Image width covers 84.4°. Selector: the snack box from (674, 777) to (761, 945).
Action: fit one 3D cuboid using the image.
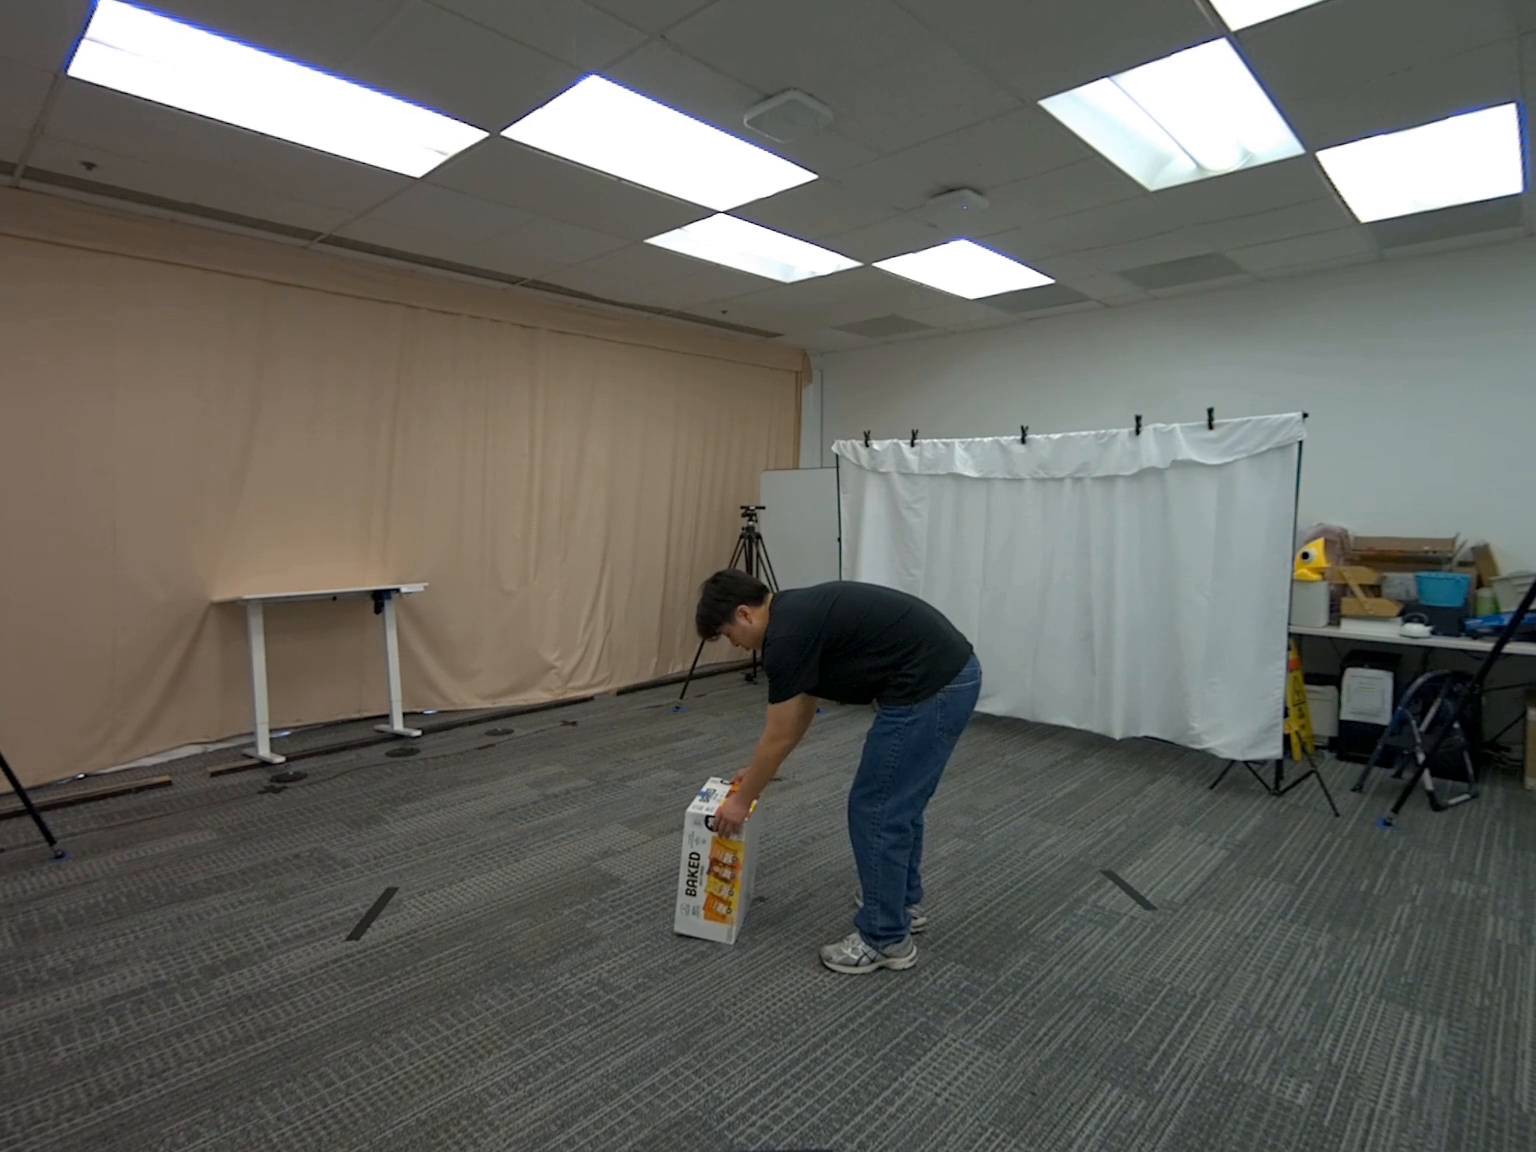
[{"bbox_3d":[-0.155,0.947,2.846,0.208,0.404,0.337,6,4,10],"label":"snack box"}]
